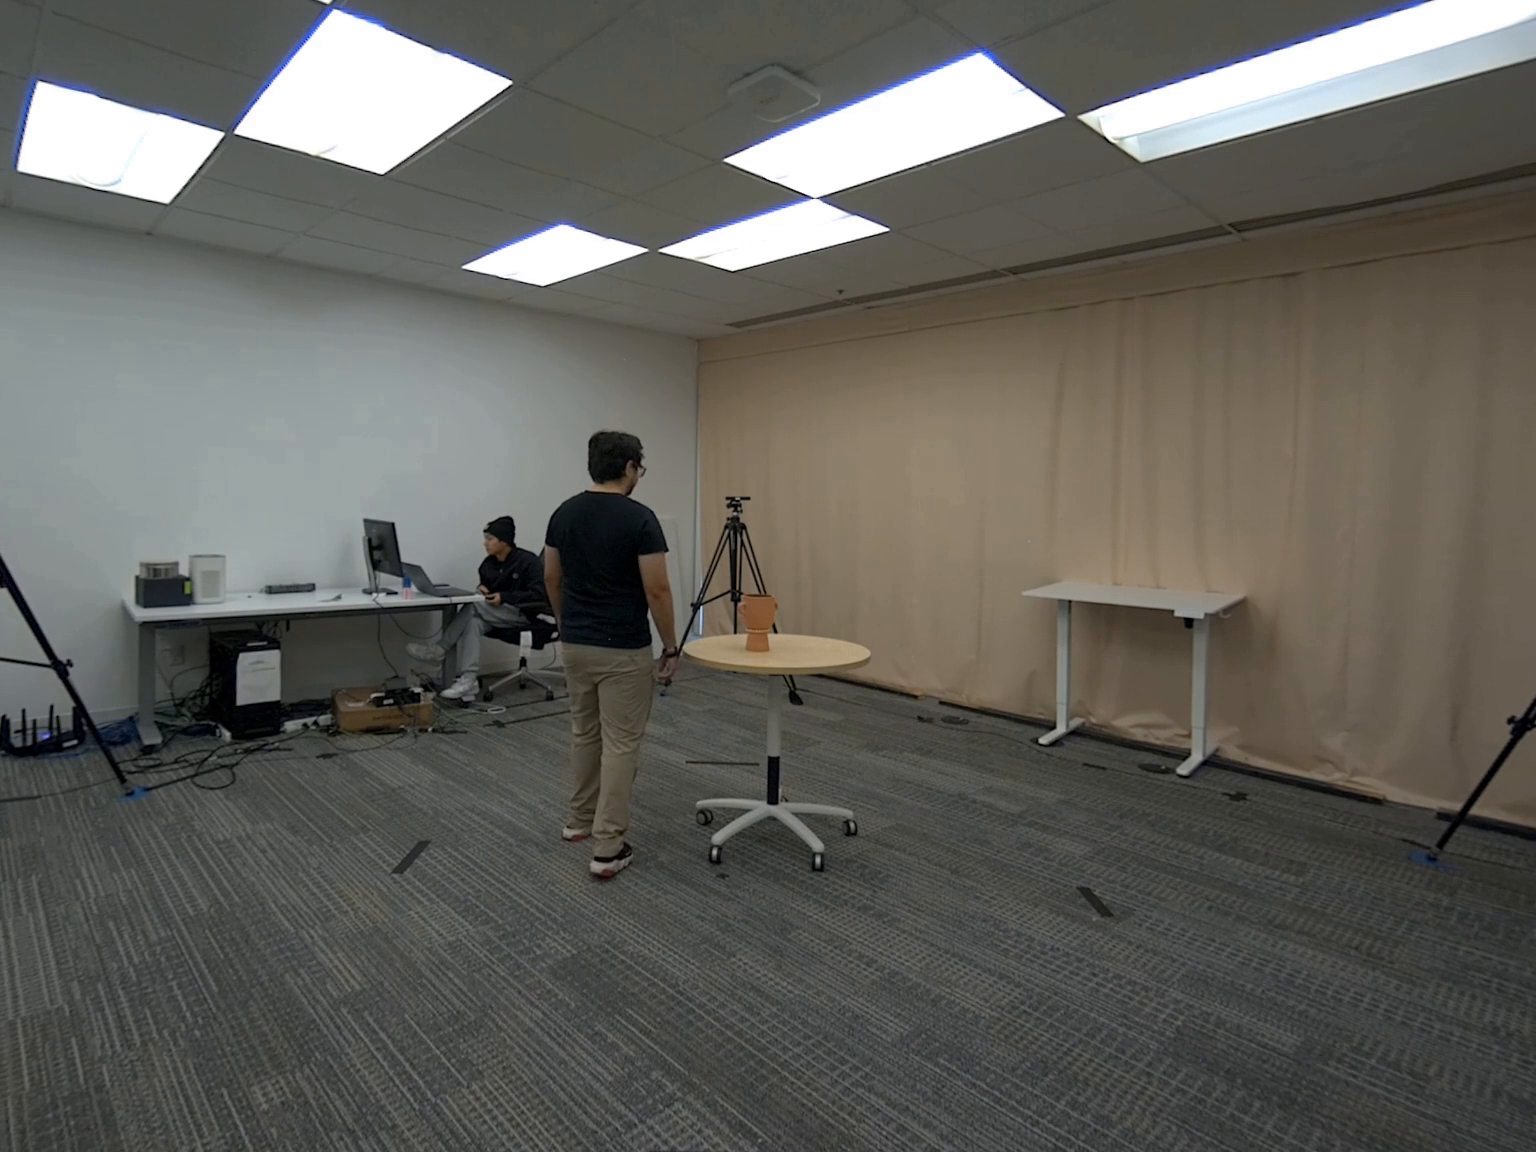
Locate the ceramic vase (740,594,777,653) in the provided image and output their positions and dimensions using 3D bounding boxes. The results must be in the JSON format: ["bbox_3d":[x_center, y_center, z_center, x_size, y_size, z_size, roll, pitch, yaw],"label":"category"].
[{"bbox_3d":[-0.052,0.193,3.419,0.159,0.220,0.134,0,1,0],"label":"ceramic vase"}]
